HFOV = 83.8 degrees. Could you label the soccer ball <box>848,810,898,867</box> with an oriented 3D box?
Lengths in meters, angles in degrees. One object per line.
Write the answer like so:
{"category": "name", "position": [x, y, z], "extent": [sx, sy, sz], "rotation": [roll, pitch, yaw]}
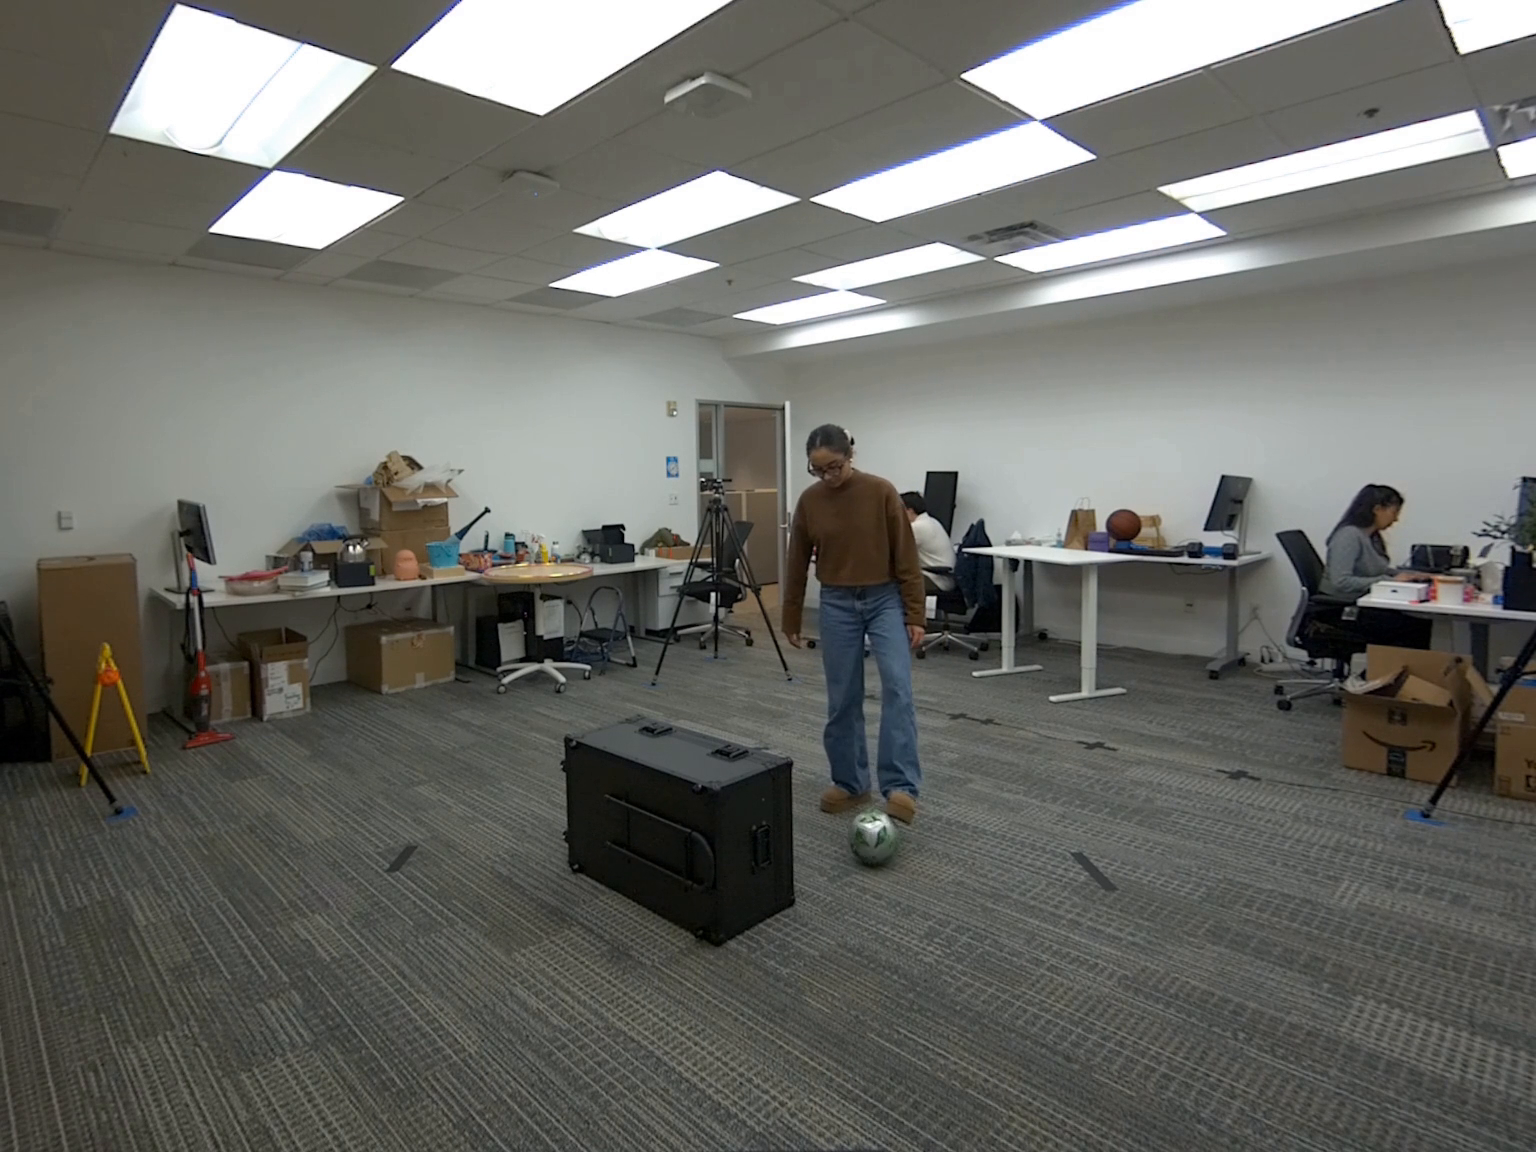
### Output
{"category": "soccer ball", "position": [0.371, 0.939, 3.093], "extent": [0.187, 0.187, 0.188], "rotation": [-1, 5, -2]}
